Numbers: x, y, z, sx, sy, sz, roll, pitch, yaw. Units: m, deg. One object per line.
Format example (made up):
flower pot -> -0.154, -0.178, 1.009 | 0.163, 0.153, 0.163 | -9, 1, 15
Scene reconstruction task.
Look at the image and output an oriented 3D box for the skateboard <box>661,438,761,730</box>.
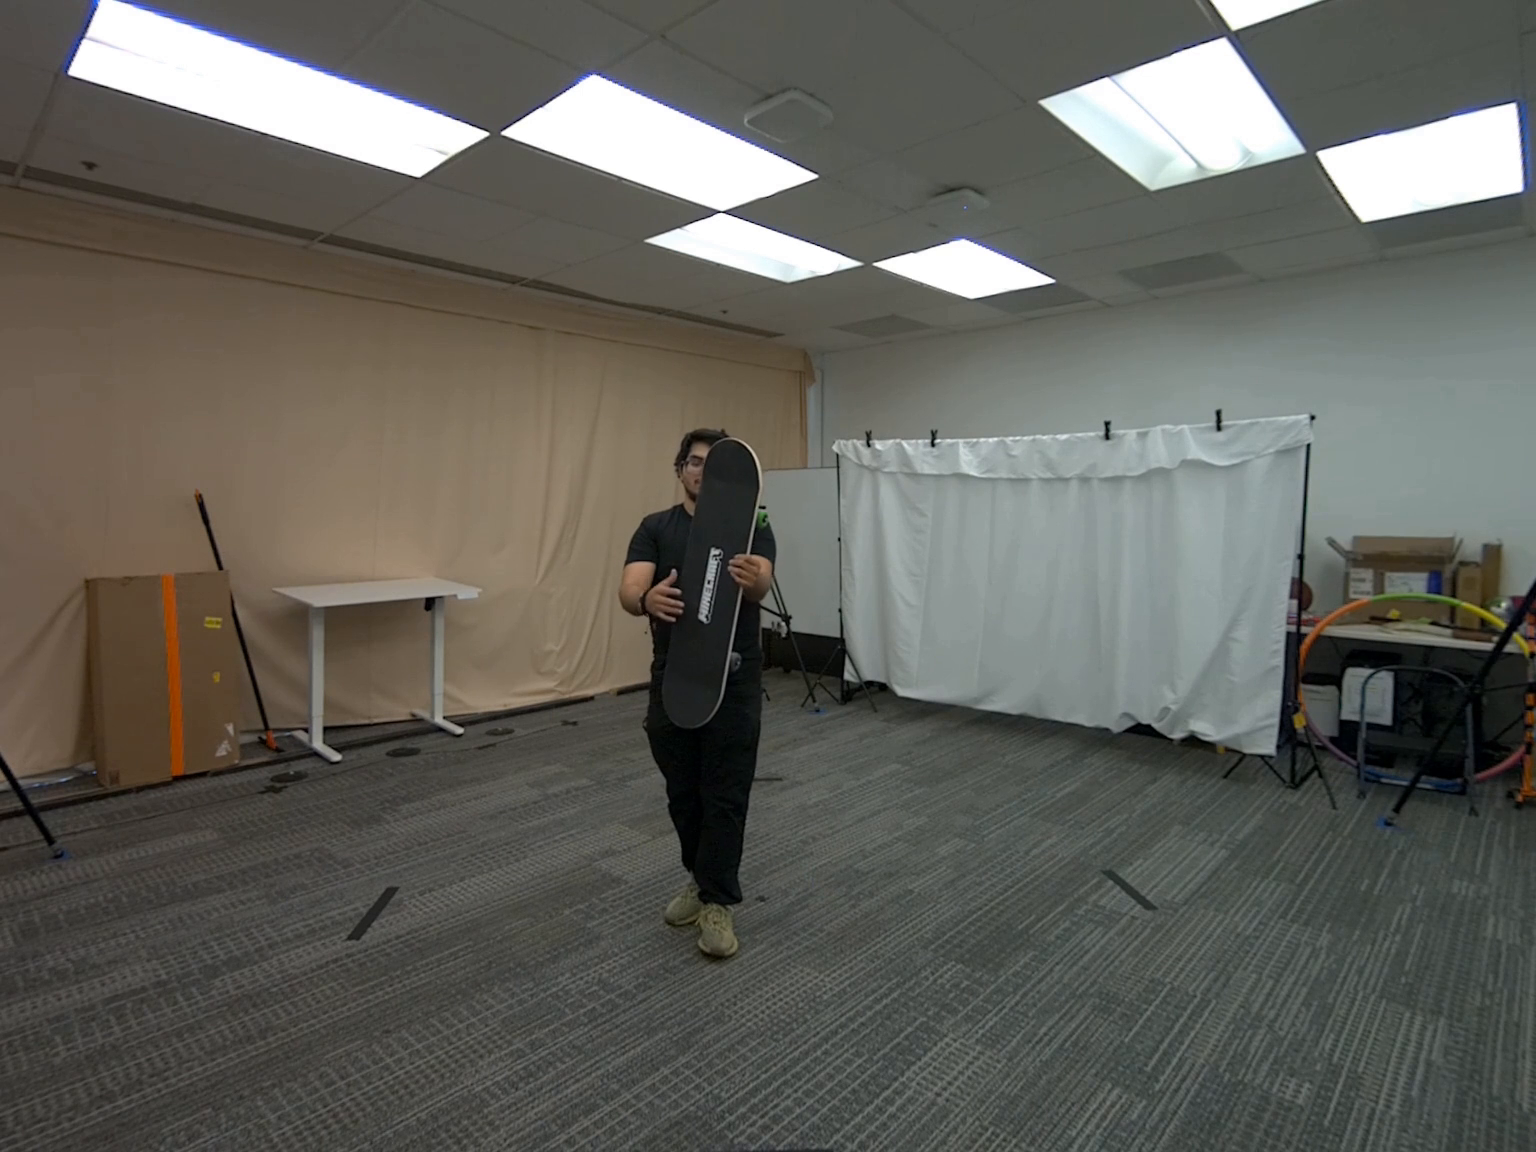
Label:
skateboard -> -0.139, 0.026, 2.295 | 0.200, 0.783, 0.107 | 16, 8, 31
